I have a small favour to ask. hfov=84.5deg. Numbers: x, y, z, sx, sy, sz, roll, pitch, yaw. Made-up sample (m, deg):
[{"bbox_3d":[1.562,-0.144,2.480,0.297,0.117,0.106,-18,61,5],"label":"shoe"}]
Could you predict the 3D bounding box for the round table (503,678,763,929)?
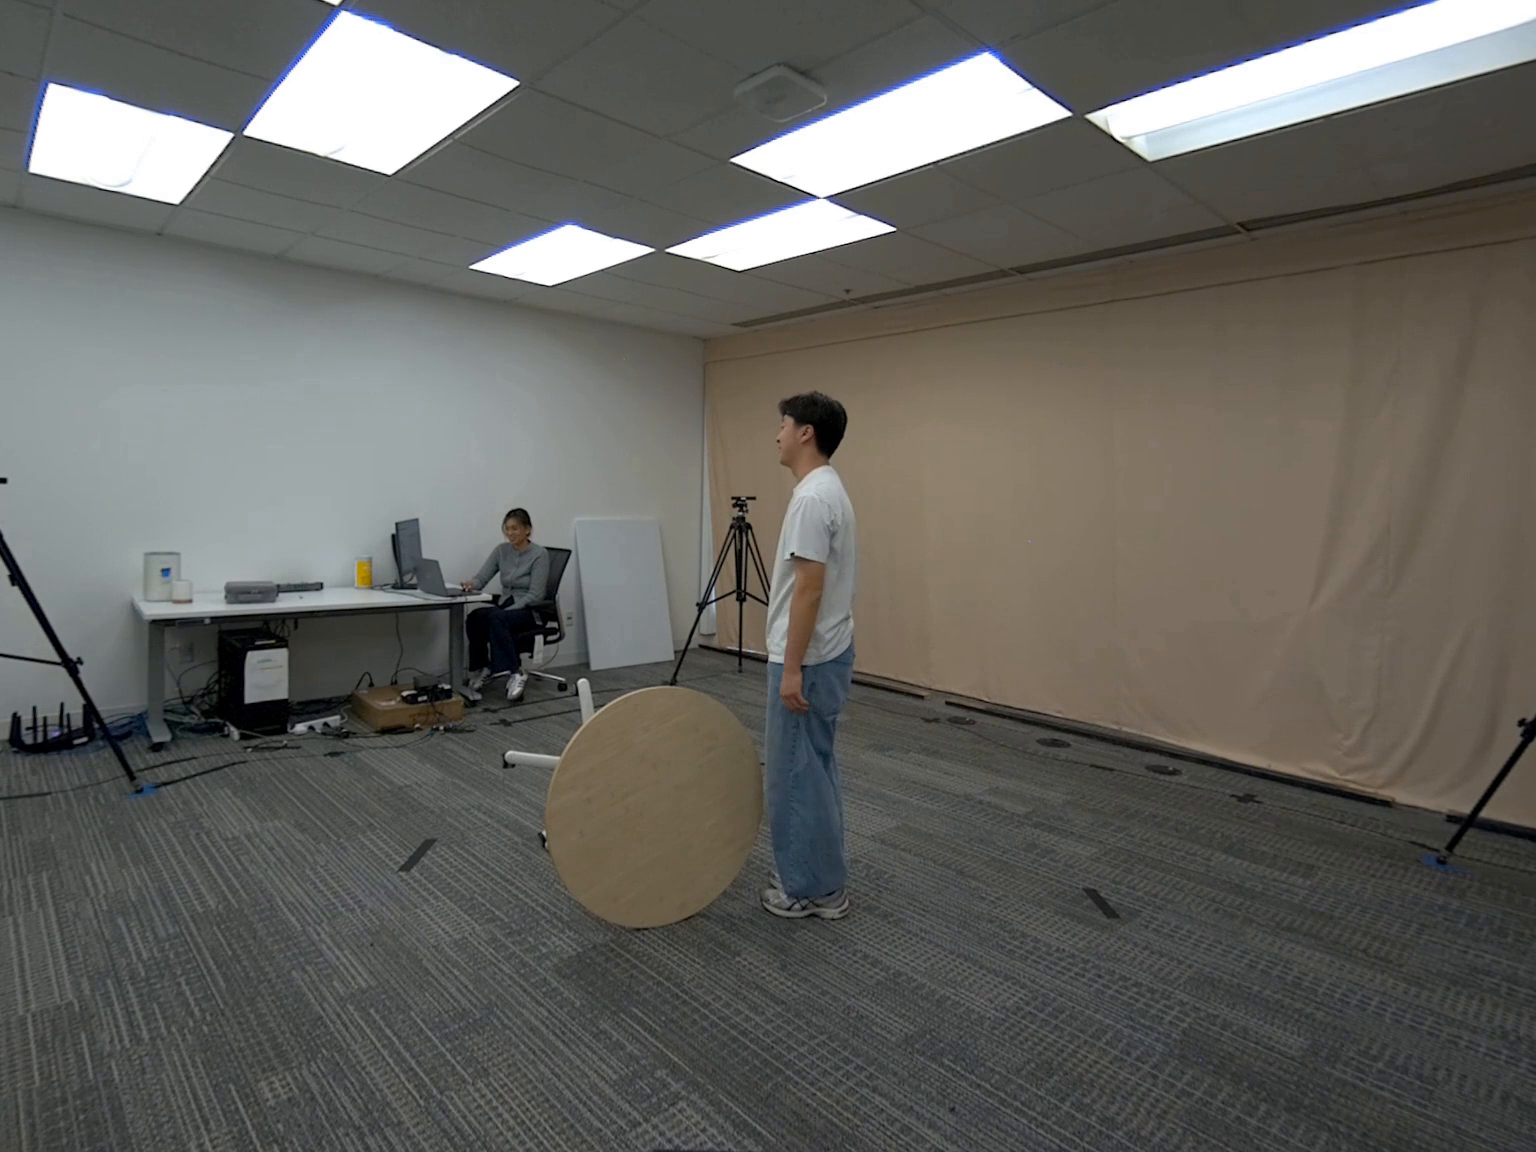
[{"bbox_3d":[-0.553,0.763,3.097,0.749,0.765,0.808,-1,-2,-30],"label":"round table"}]
